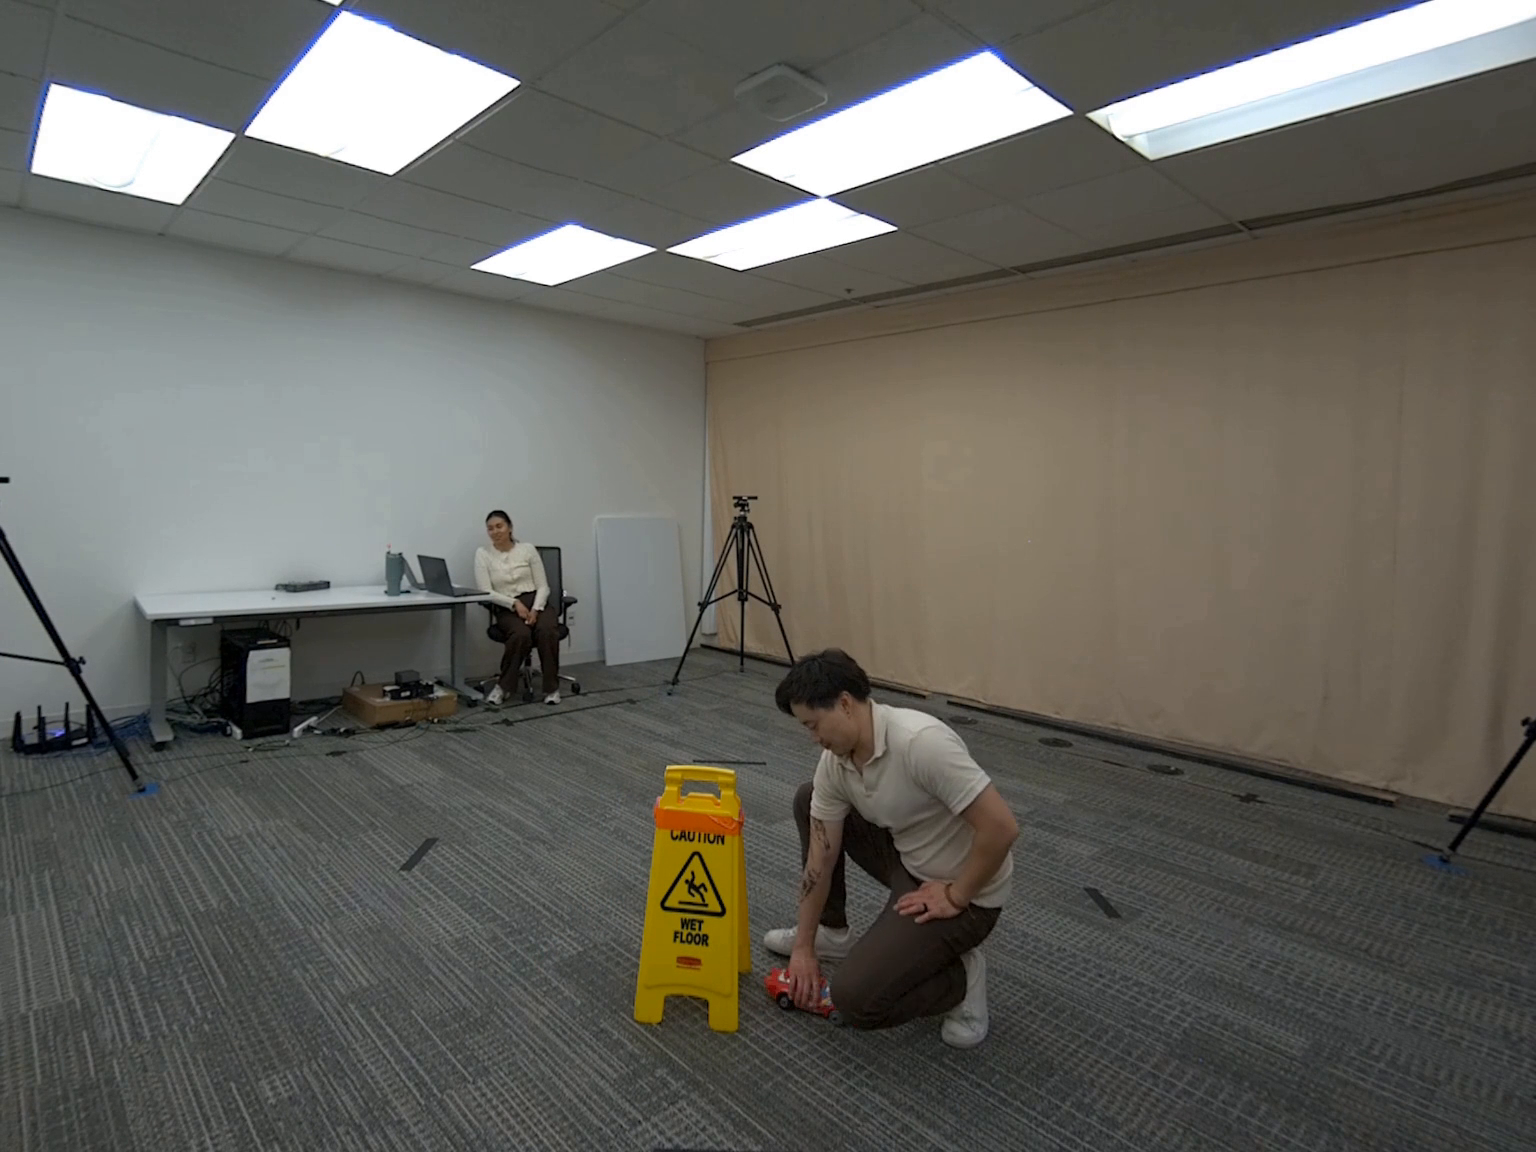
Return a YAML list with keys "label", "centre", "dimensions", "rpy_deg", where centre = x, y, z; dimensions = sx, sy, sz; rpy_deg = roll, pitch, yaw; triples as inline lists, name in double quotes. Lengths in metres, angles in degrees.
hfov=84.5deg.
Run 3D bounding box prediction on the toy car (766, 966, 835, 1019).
- label: "toy car"
  centre: [0.094, 1.136, 2.328]
  dimensions: [0.130, 0.082, 0.259]
  rpy_deg: [-7, 23, 0]
